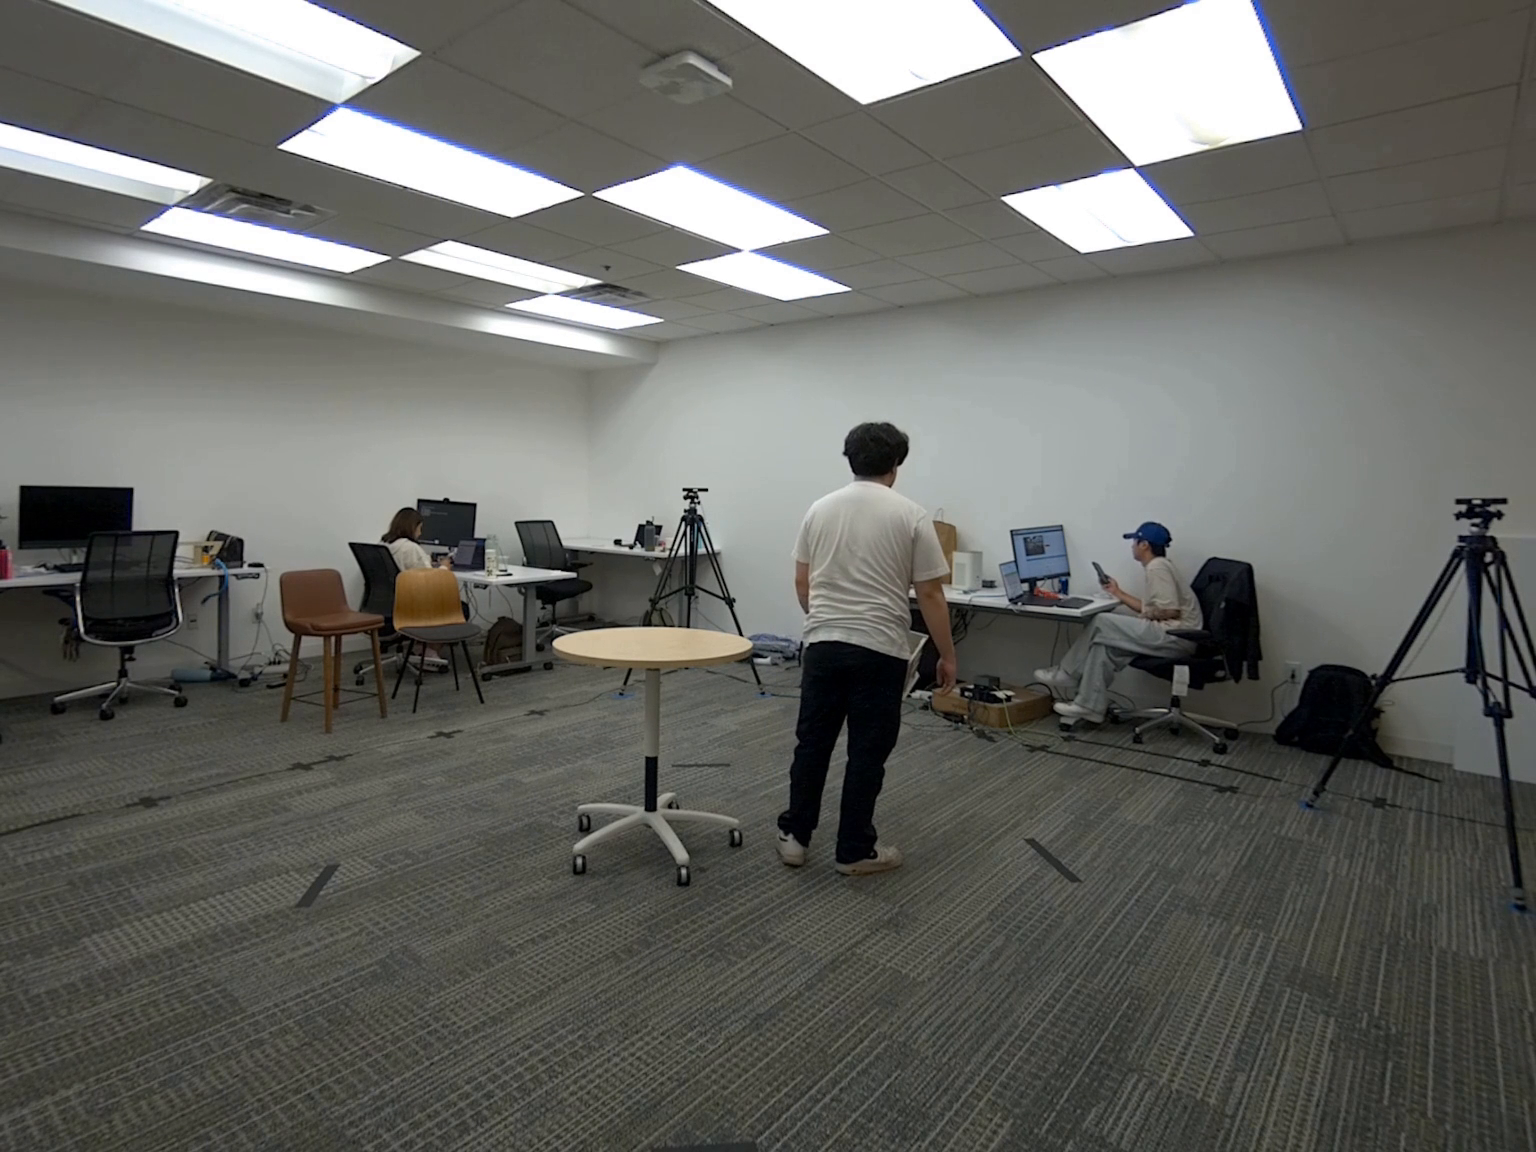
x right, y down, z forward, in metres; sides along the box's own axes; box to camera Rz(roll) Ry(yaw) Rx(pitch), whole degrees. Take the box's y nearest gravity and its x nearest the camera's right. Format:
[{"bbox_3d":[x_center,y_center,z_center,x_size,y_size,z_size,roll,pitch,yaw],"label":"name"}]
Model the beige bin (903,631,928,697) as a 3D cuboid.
[{"bbox_3d":[0.398,0.307,3.449,0.433,0.187,0.371,11,12,21],"label":"beige bin"}]
